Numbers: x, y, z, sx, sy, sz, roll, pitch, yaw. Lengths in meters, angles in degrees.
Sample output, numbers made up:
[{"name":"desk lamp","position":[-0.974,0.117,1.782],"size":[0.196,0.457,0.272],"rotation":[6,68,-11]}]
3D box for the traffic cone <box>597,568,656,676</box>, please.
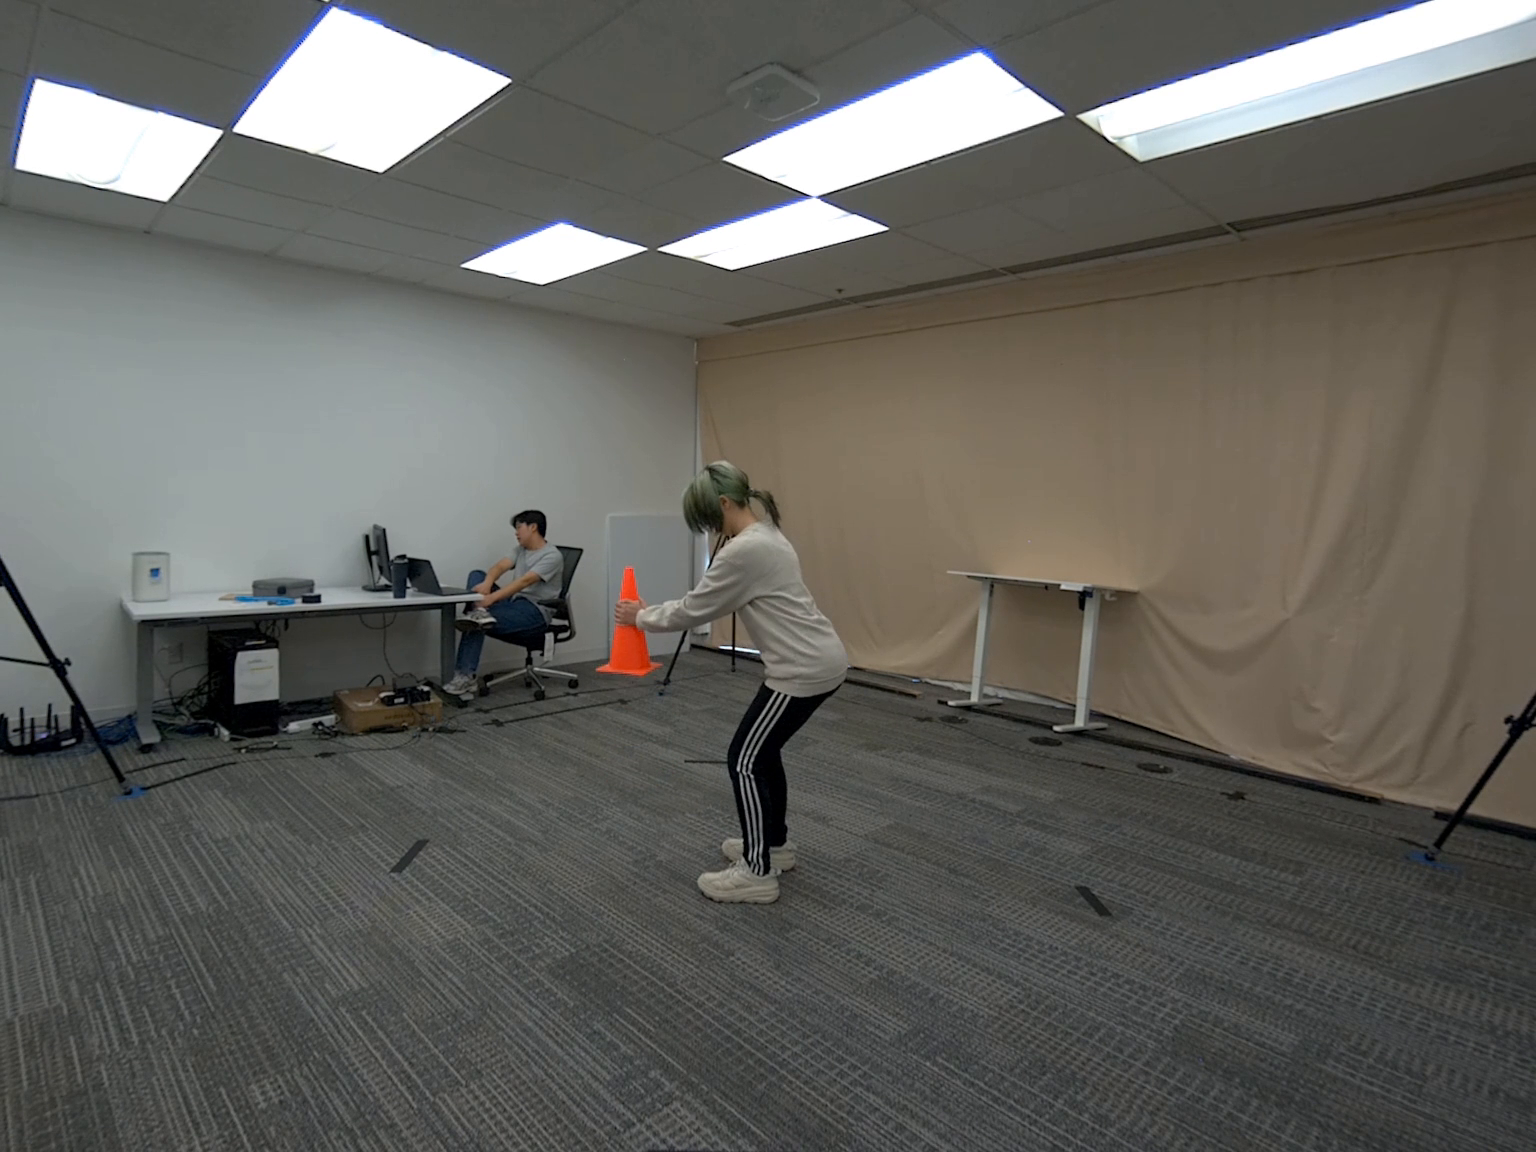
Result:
[{"name":"traffic cone","position":[-0.523,0.166,3.188],"size":[0.207,0.383,0.202],"rotation":[2,4,23]}]
